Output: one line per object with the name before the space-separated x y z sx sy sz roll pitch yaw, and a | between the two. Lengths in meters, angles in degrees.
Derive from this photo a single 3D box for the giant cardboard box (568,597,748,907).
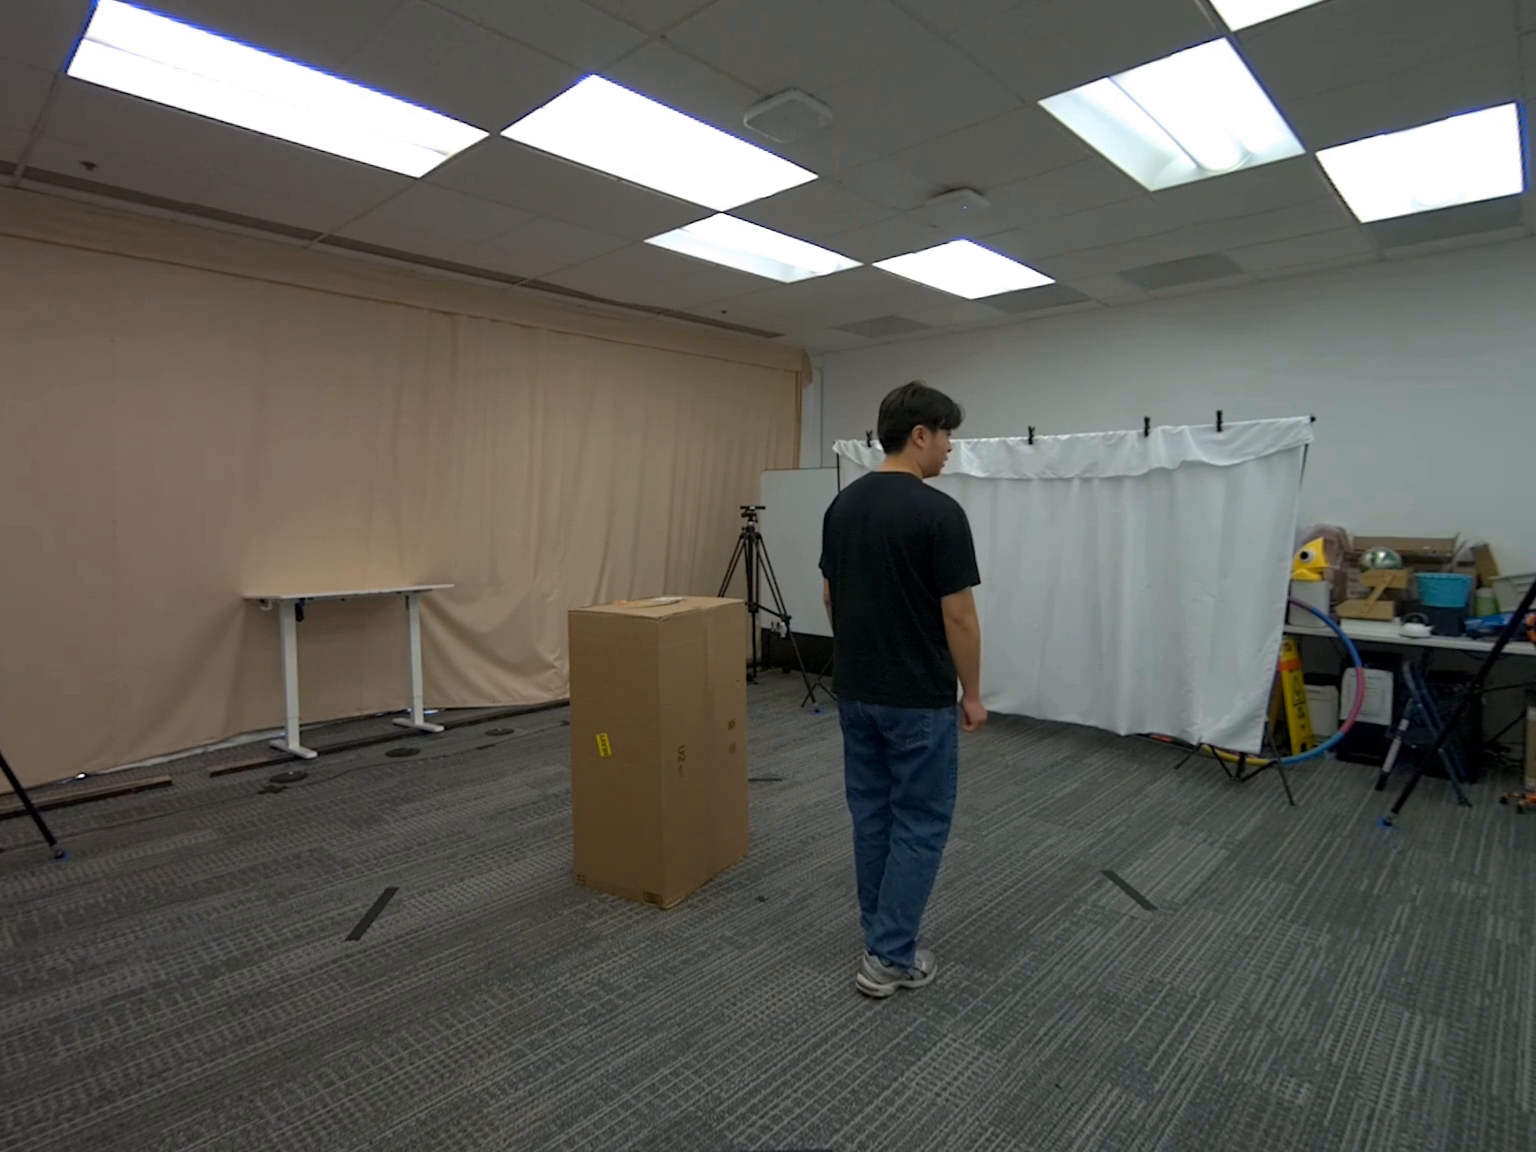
giant cardboard box | -0.406 0.614 3.227 0.460 1.025 0.568 0 3 33
